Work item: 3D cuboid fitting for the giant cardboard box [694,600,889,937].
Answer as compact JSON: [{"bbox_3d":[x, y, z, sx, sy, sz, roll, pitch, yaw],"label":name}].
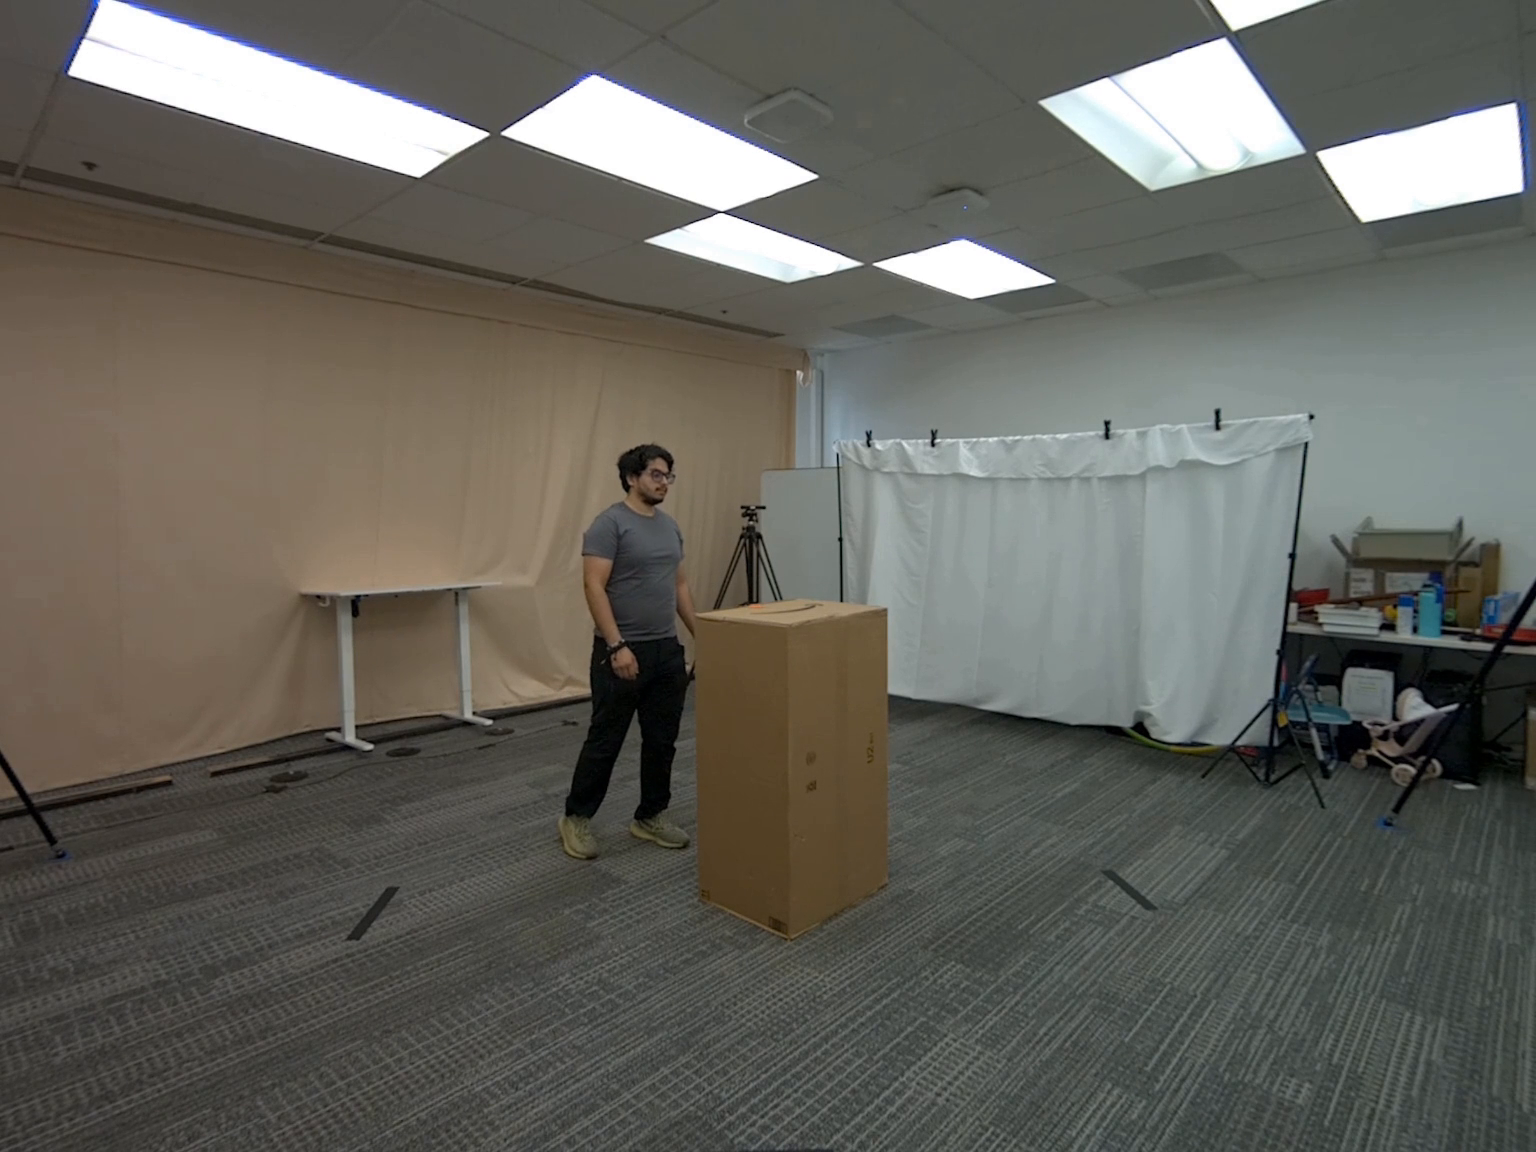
[{"bbox_3d":[0.093,0.632,3.012,0.440,1.024,0.560,3,4,43],"label":"giant cardboard box"}]
